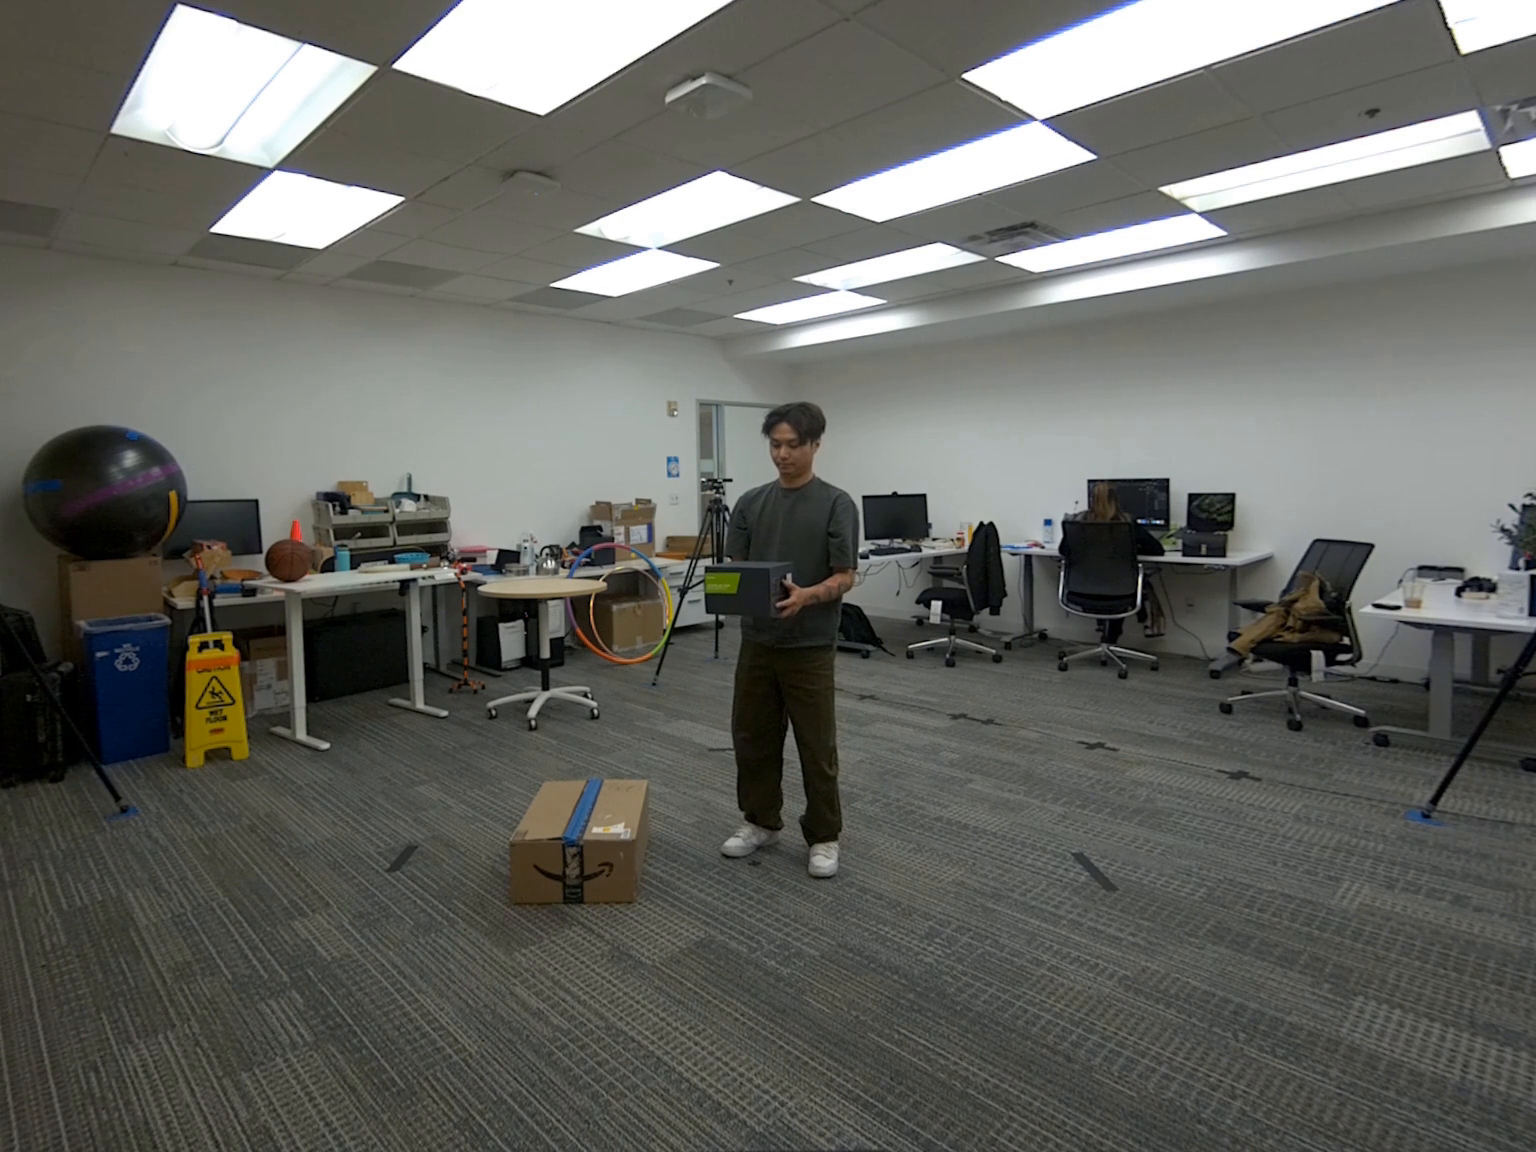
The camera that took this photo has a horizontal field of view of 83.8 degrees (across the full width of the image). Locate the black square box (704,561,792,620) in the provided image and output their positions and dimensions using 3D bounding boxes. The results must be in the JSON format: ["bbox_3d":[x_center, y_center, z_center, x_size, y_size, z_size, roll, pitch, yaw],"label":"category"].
[{"bbox_3d":[-0.064,0.037,2.800,0.233,0.155,0.213,2,5,23],"label":"black square box"}]
